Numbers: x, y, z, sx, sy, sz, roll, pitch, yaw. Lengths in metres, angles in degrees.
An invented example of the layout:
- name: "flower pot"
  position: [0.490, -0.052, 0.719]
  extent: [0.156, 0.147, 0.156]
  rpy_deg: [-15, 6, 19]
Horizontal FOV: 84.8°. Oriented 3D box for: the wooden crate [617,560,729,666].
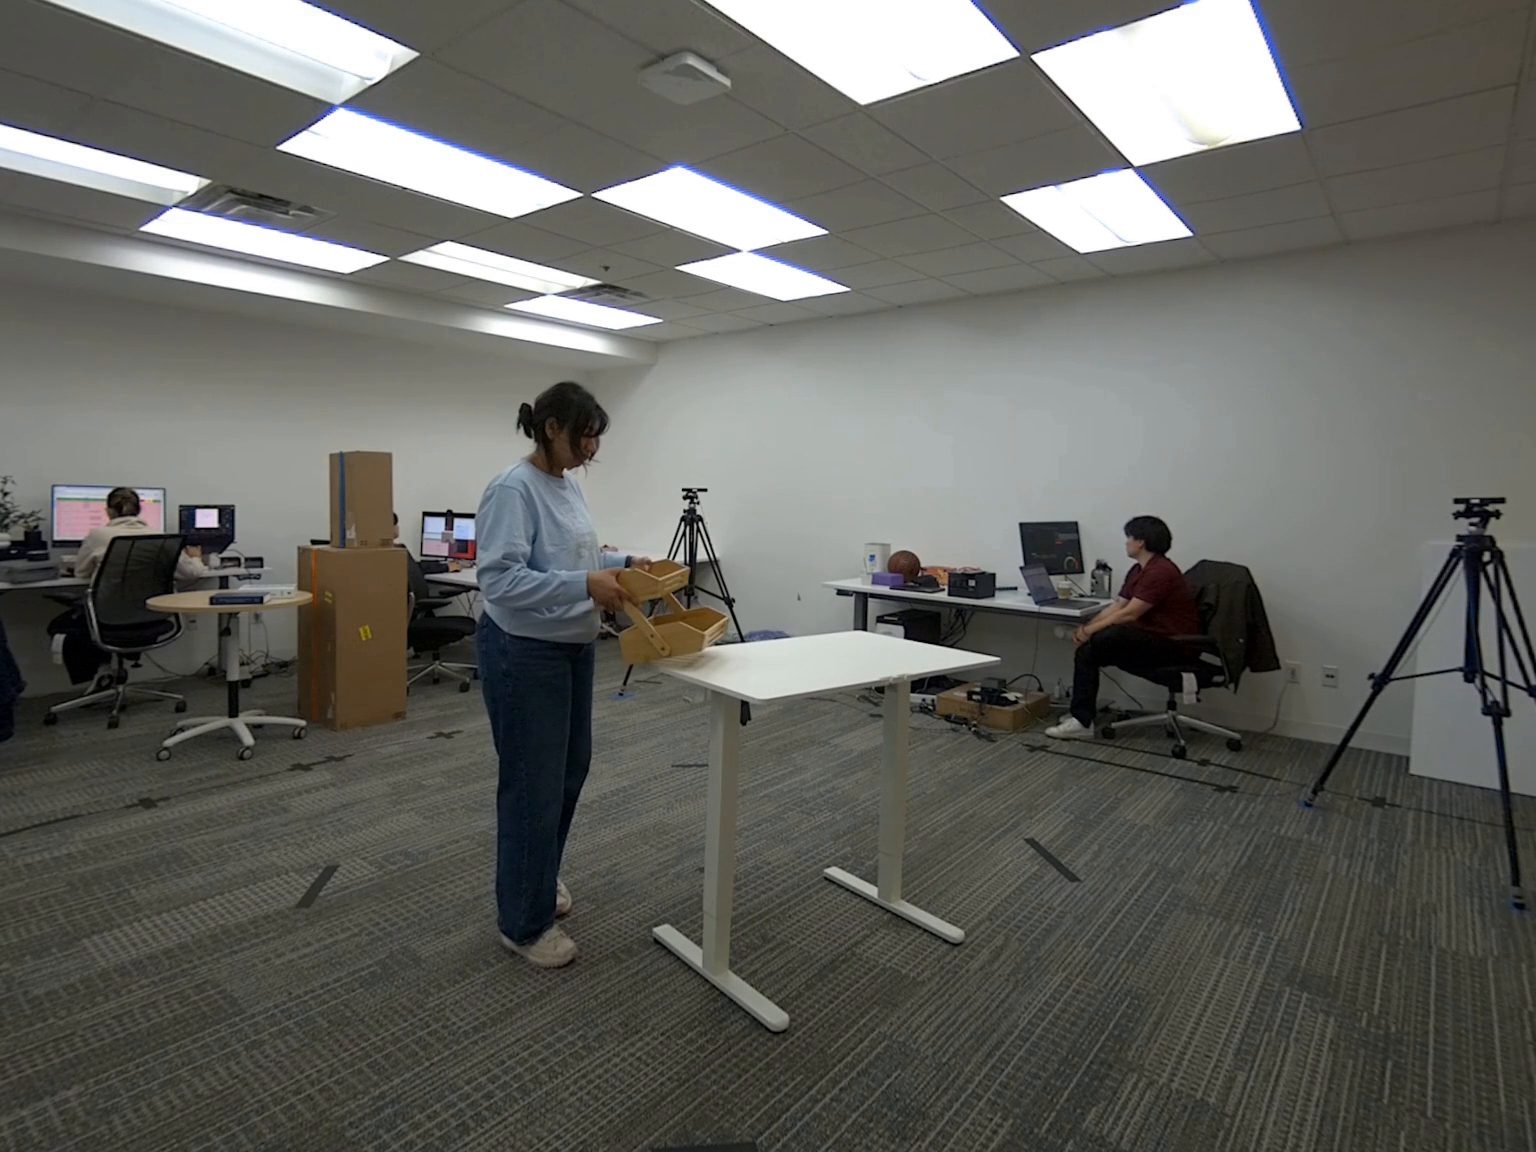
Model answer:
- name: "wooden crate"
  position: [-0.325, 0.085, 2.503]
  extent: [0.305, 0.273, 0.321]
  rpy_deg: [-13, 2, 13]
